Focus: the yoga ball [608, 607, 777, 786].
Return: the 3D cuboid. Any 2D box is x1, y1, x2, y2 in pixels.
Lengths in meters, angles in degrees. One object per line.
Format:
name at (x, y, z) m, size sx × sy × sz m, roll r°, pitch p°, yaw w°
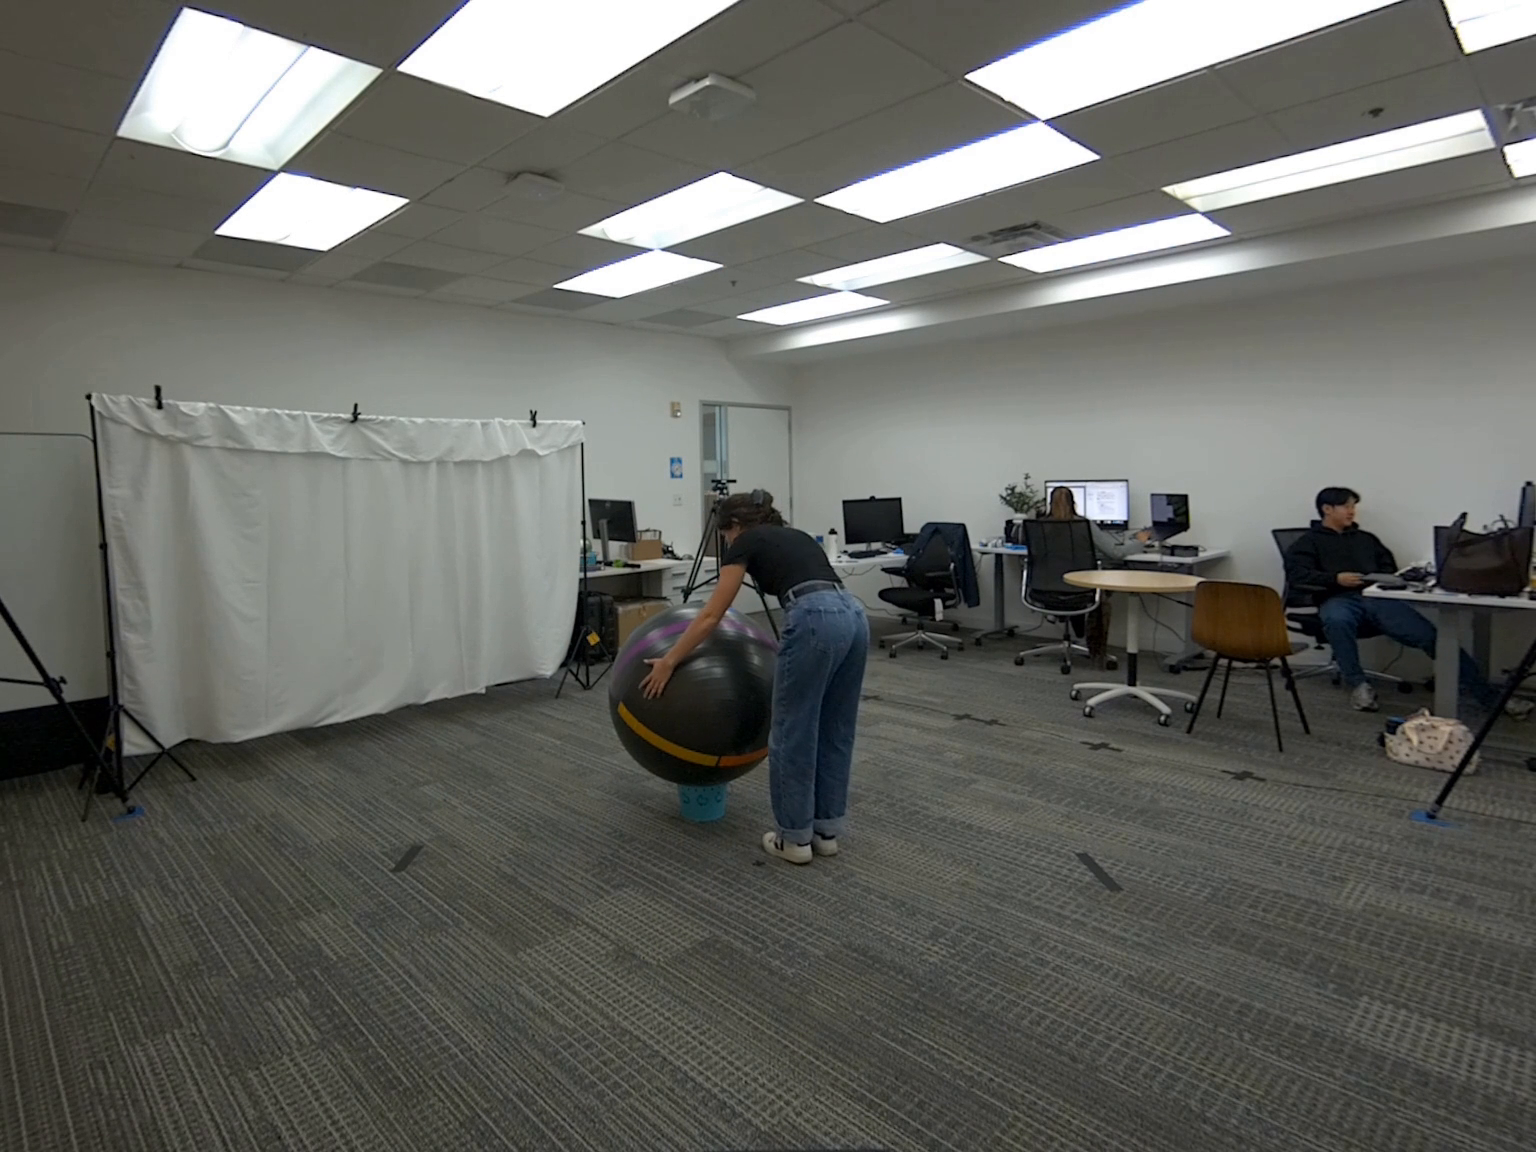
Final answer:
yoga ball at (-0.289, 0.495, 3.575) m, size 0.757 × 0.755 × 0.762 m, roll -1°, pitch 5°, yaw -2°
